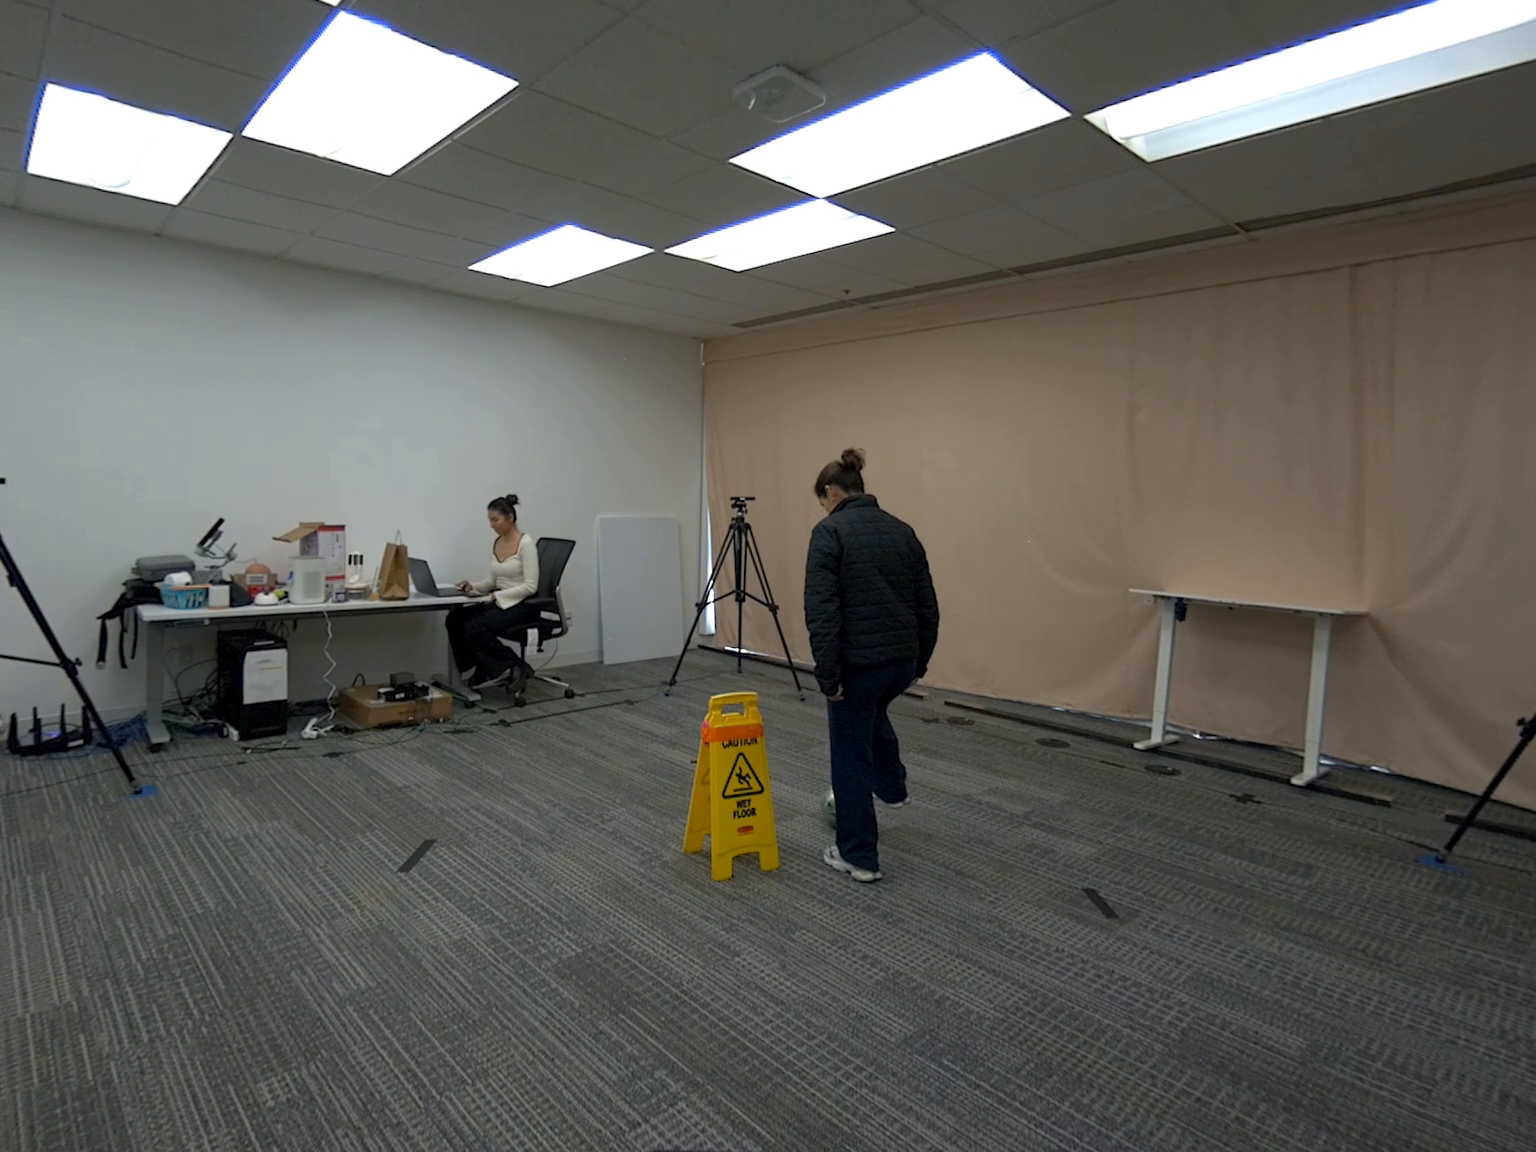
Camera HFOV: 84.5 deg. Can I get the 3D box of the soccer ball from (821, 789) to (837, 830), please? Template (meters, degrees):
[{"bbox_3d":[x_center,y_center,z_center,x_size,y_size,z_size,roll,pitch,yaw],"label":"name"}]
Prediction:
[{"bbox_3d":[0.299,0.981,3.586,0.187,0.187,0.188,1,4,-1],"label":"soccer ball"}]
